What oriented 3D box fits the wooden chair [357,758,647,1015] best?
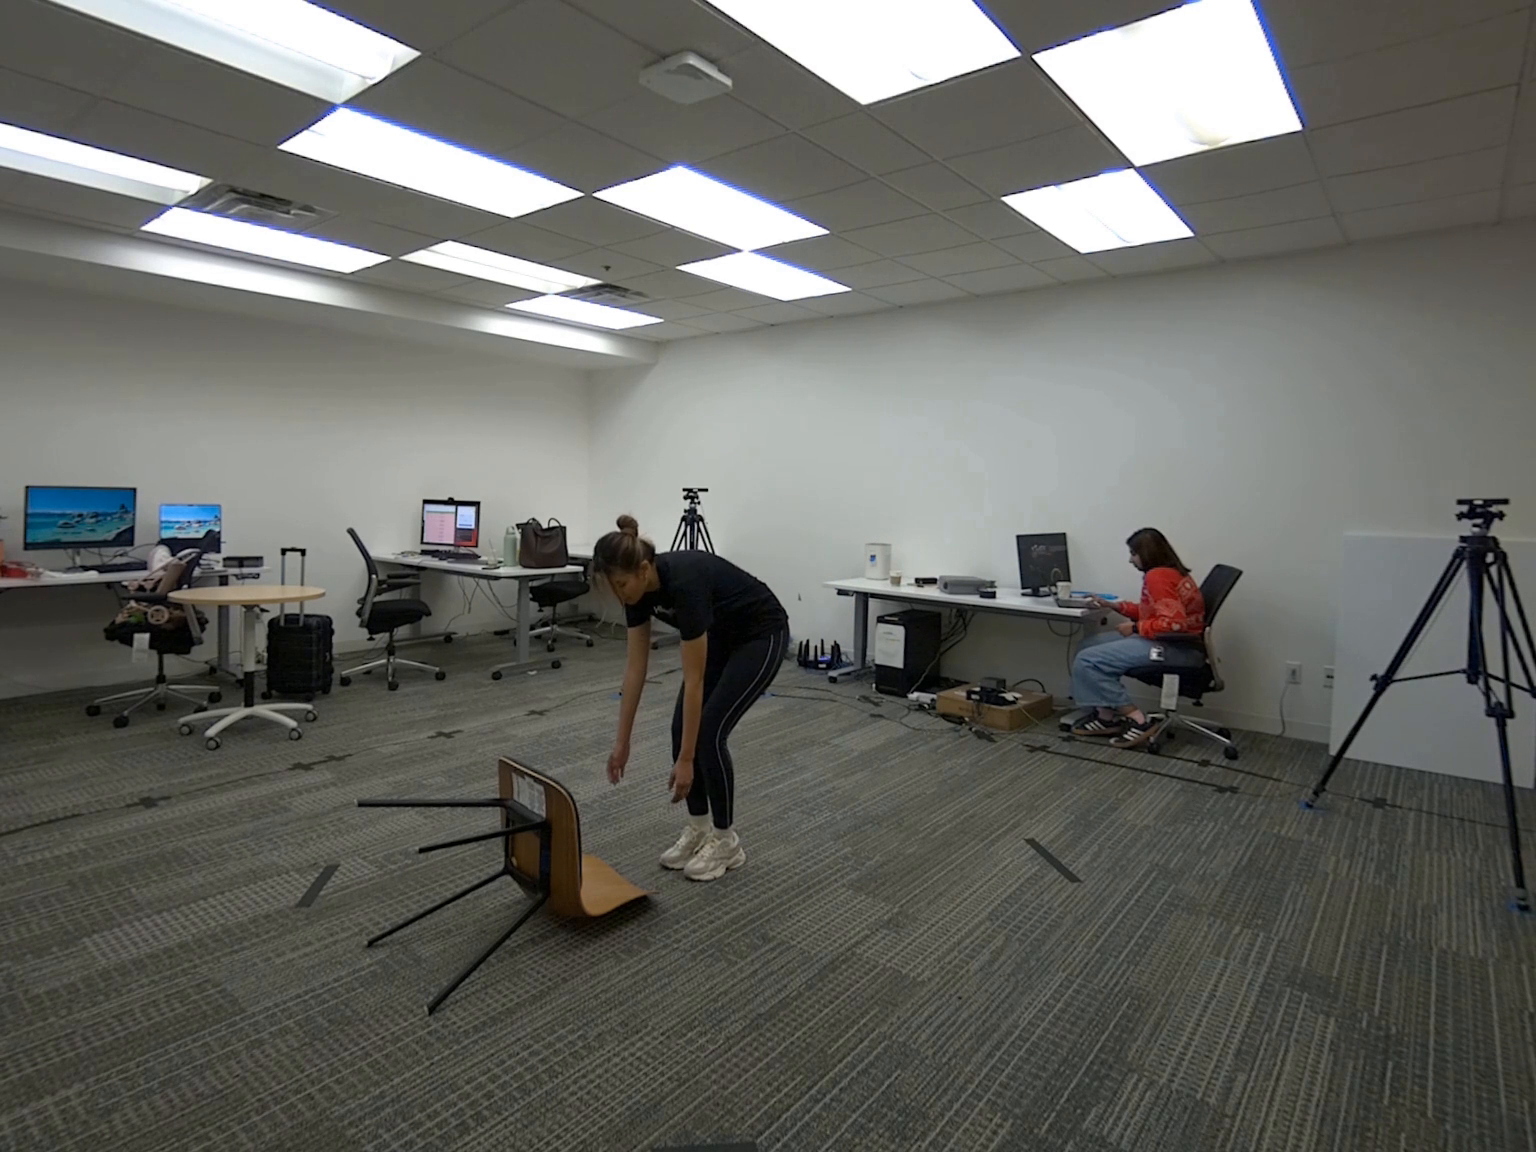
[{"bbox_3d":[-0.758,0.845,2.651,0.850,0.521,0.494,-3,6,-44],"label":"wooden chair"}]
